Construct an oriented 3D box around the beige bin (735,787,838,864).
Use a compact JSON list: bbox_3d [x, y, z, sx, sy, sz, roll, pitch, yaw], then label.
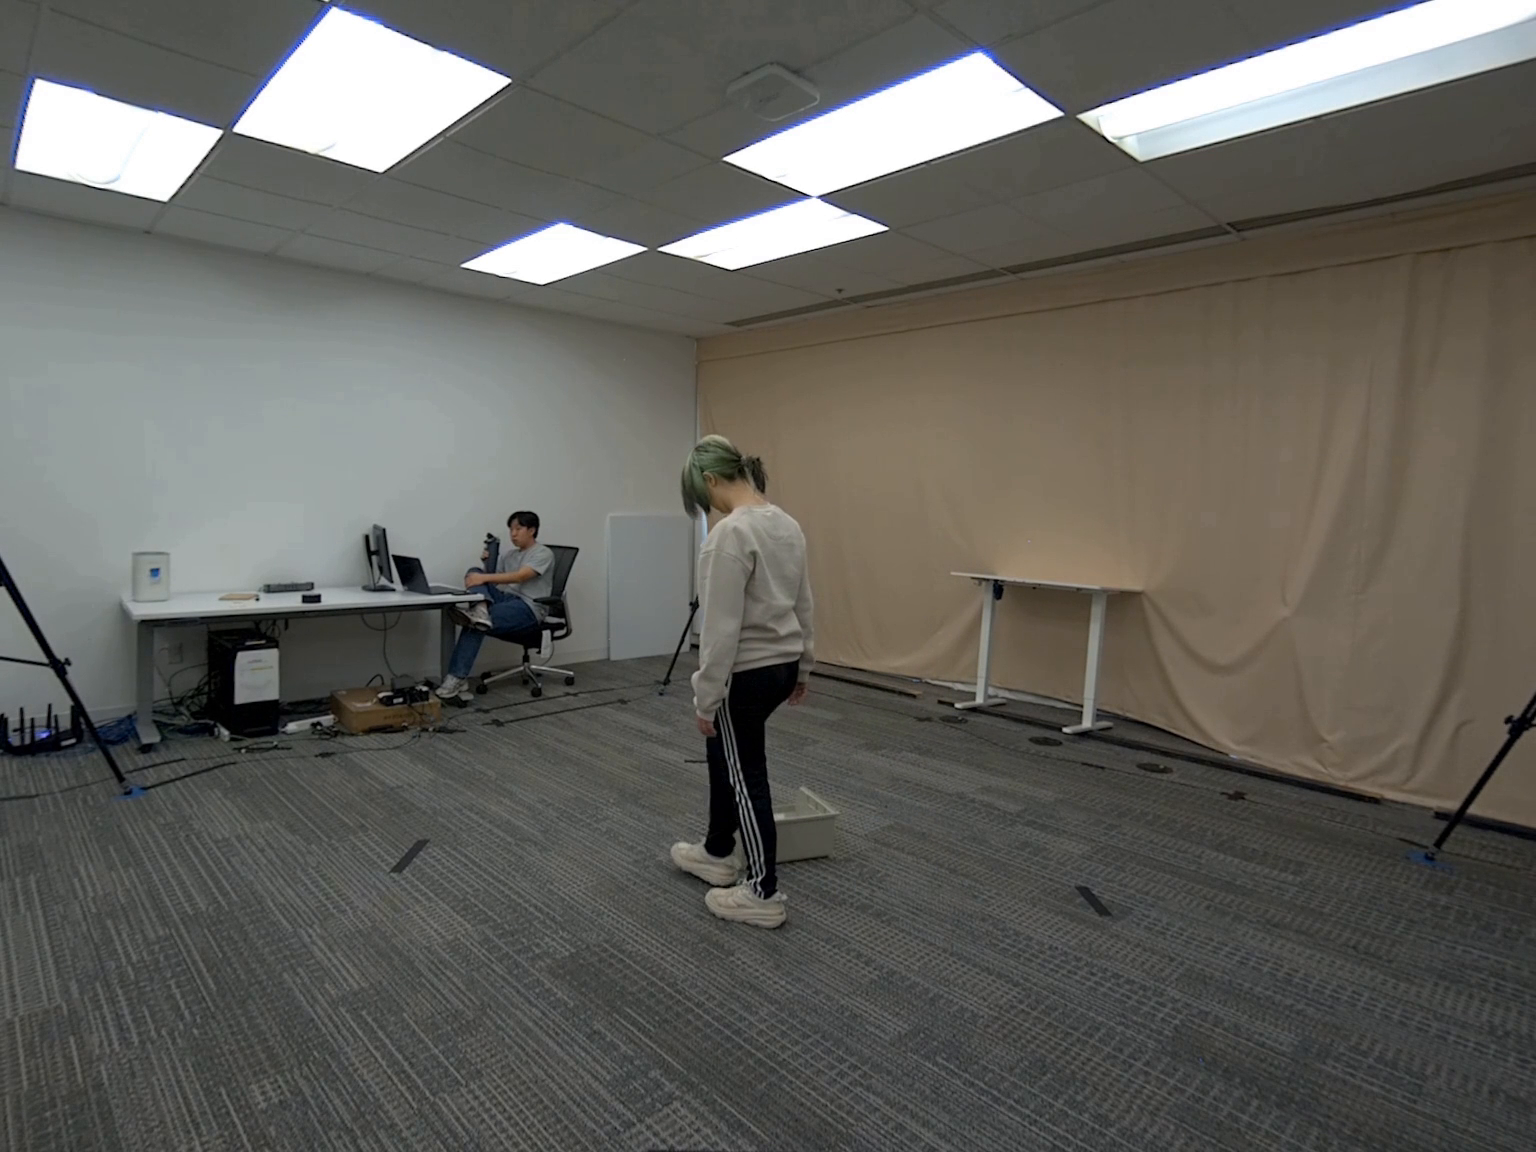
[{"bbox_3d":[0.006,0.996,3.374,0.415,0.188,0.385,0,5,-23],"label":"beige bin"}]
